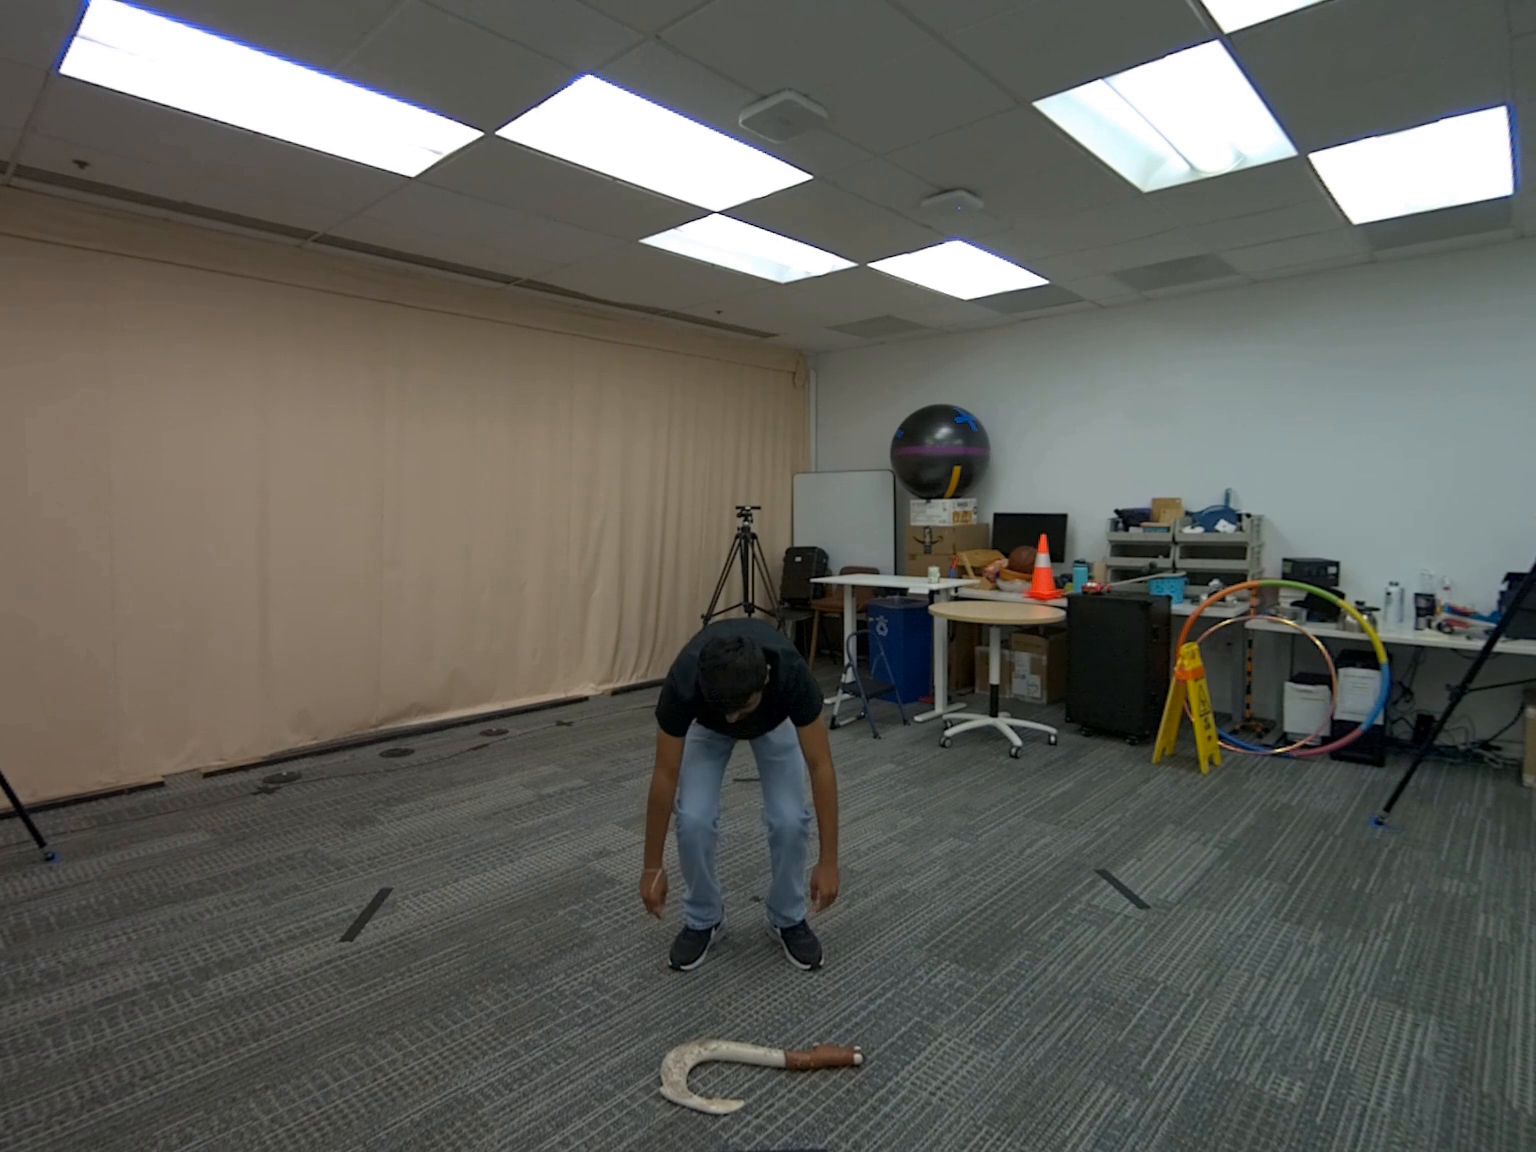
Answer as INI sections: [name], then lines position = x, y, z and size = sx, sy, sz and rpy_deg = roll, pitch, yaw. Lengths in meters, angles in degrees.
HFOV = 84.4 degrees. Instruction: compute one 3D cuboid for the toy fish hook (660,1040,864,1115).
[toy fish hook]
position = 0.001, 1.209, 2.038
size = 0.505, 0.048, 0.227
rpy_deg = -1, 12, -3
